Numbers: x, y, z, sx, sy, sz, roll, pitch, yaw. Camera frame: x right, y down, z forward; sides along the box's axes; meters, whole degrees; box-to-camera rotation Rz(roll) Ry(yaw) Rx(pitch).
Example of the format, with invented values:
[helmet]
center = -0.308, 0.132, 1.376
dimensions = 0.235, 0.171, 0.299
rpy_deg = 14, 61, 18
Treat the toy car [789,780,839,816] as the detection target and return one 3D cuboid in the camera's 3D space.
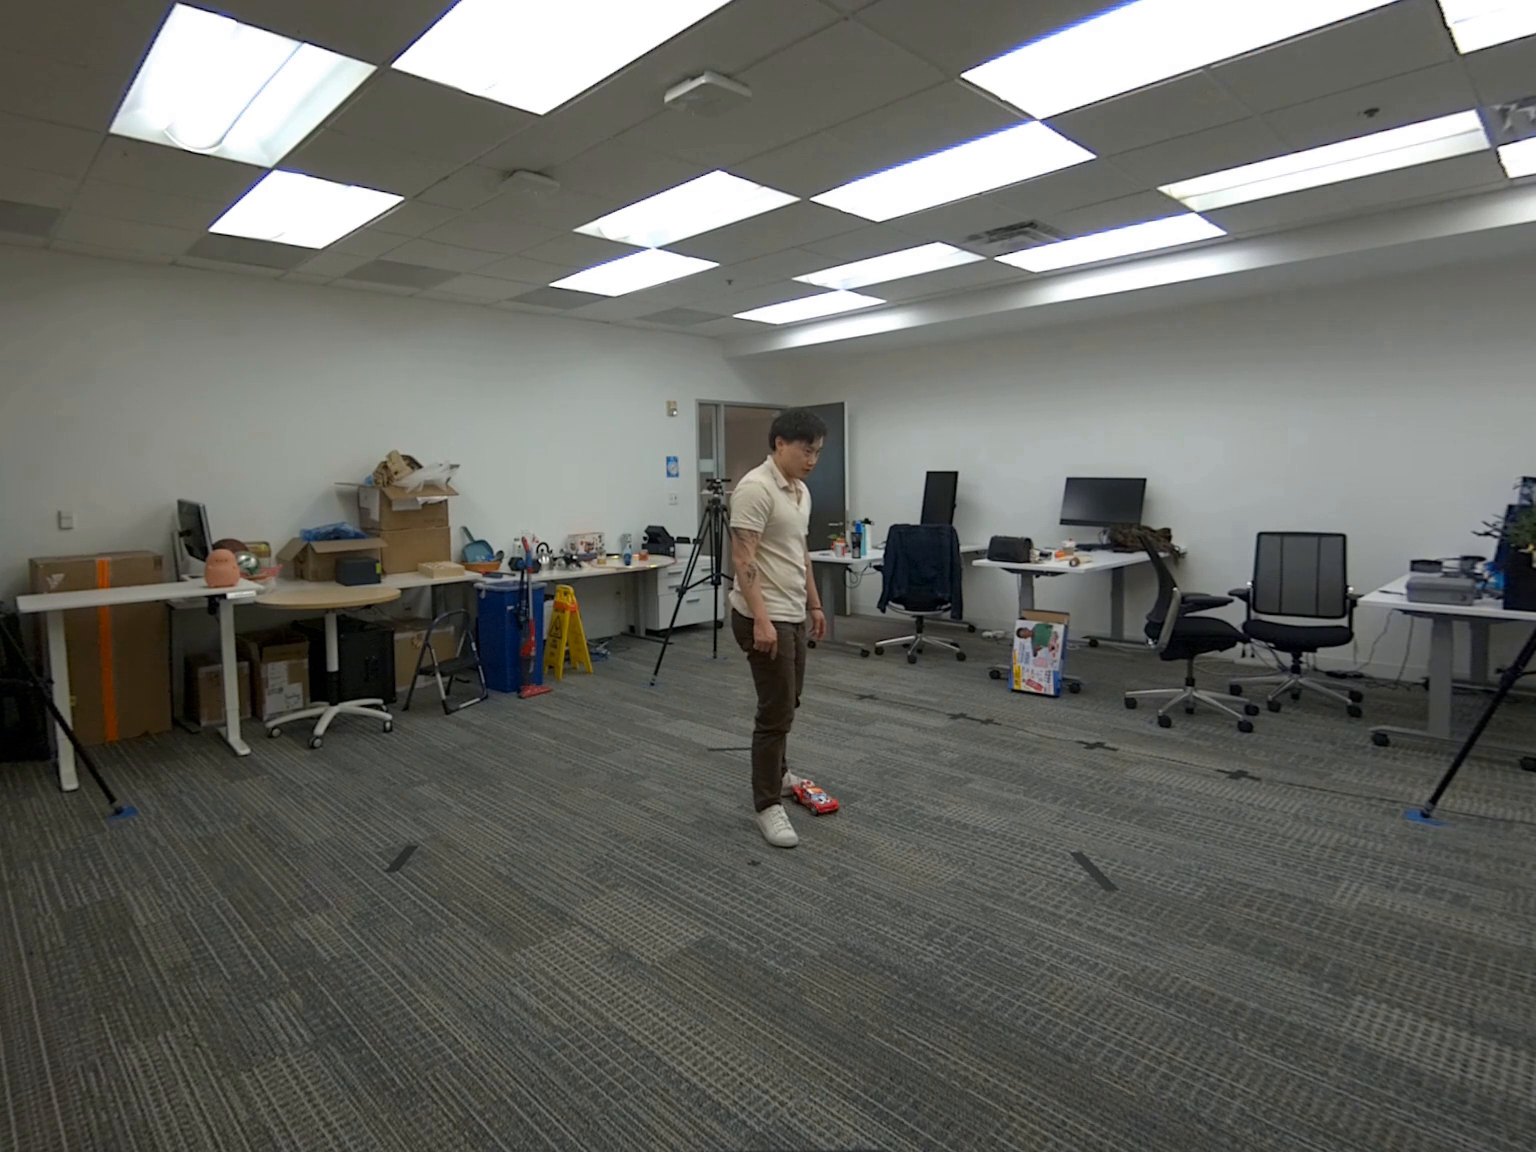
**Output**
[toy car]
center = 0.200, 0.950, 3.639
dimensions = 0.127, 0.082, 0.263
rpy_deg = -4, 17, -26
